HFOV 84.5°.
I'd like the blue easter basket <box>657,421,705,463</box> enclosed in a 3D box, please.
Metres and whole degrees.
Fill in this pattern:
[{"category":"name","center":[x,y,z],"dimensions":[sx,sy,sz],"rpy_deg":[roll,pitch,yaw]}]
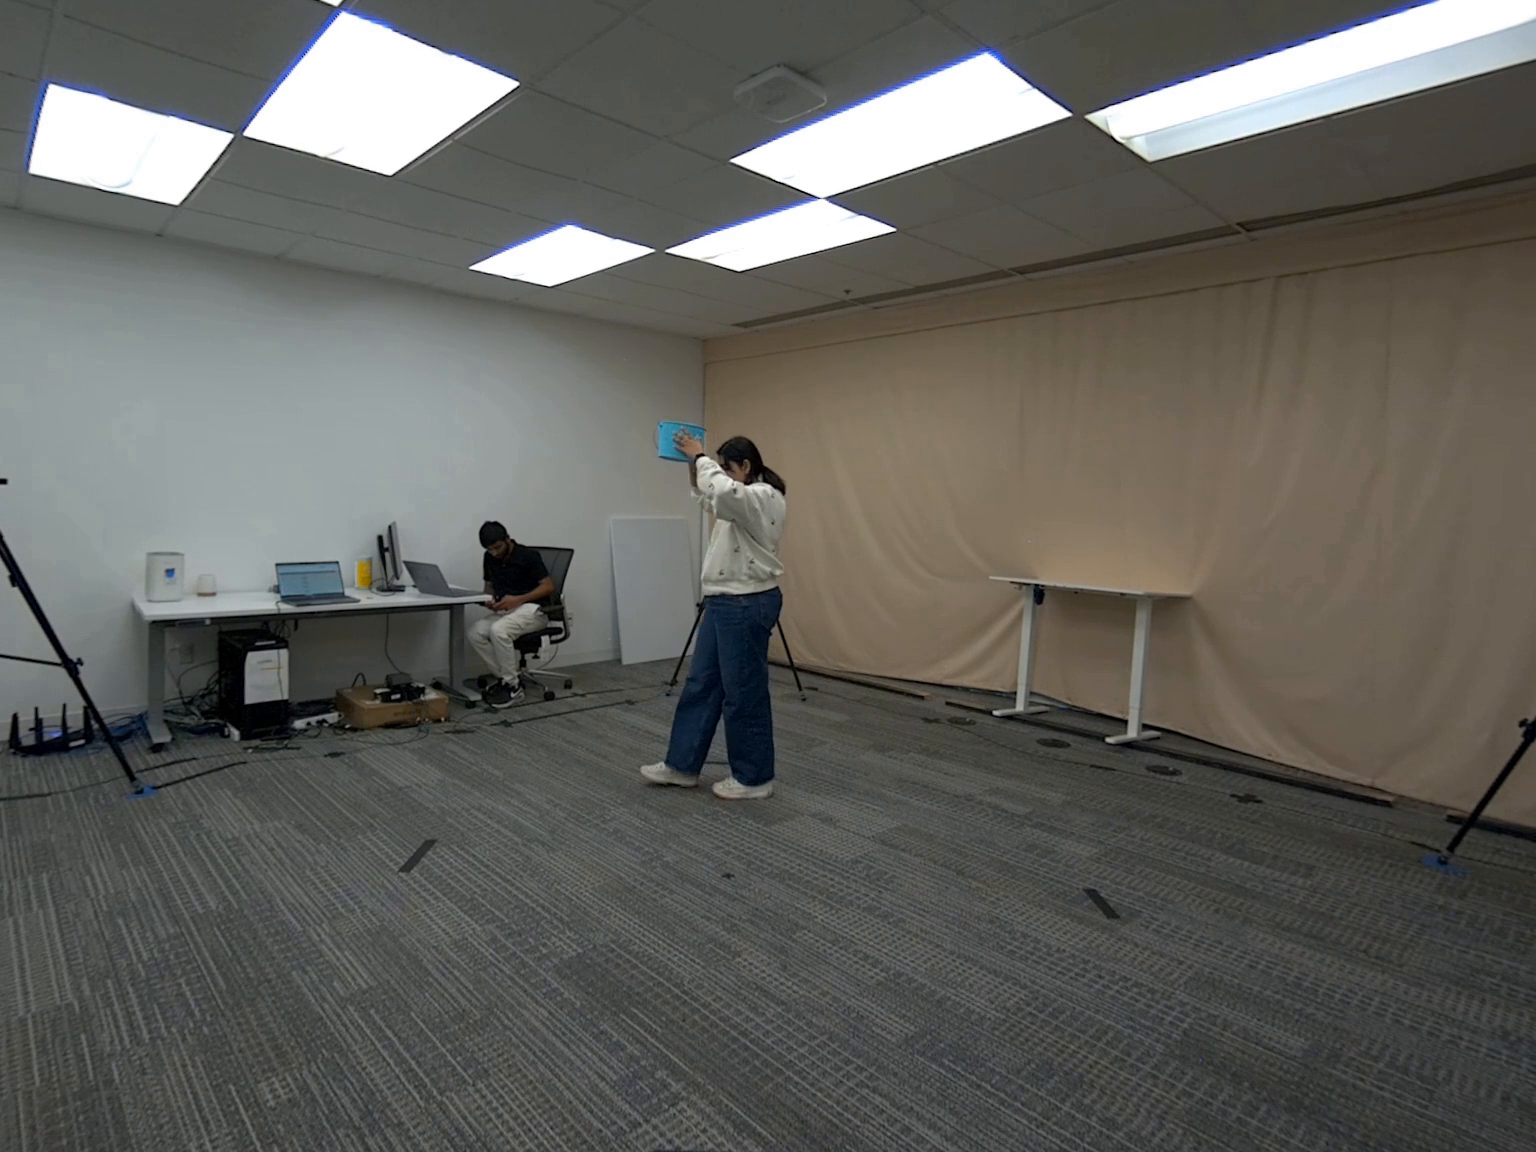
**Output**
[{"category":"blue easter basket","center":[-0.410,-0.618,3.873],"dimensions":[0.243,0.156,0.244],"rpy_deg":[8,1,-1]}]
